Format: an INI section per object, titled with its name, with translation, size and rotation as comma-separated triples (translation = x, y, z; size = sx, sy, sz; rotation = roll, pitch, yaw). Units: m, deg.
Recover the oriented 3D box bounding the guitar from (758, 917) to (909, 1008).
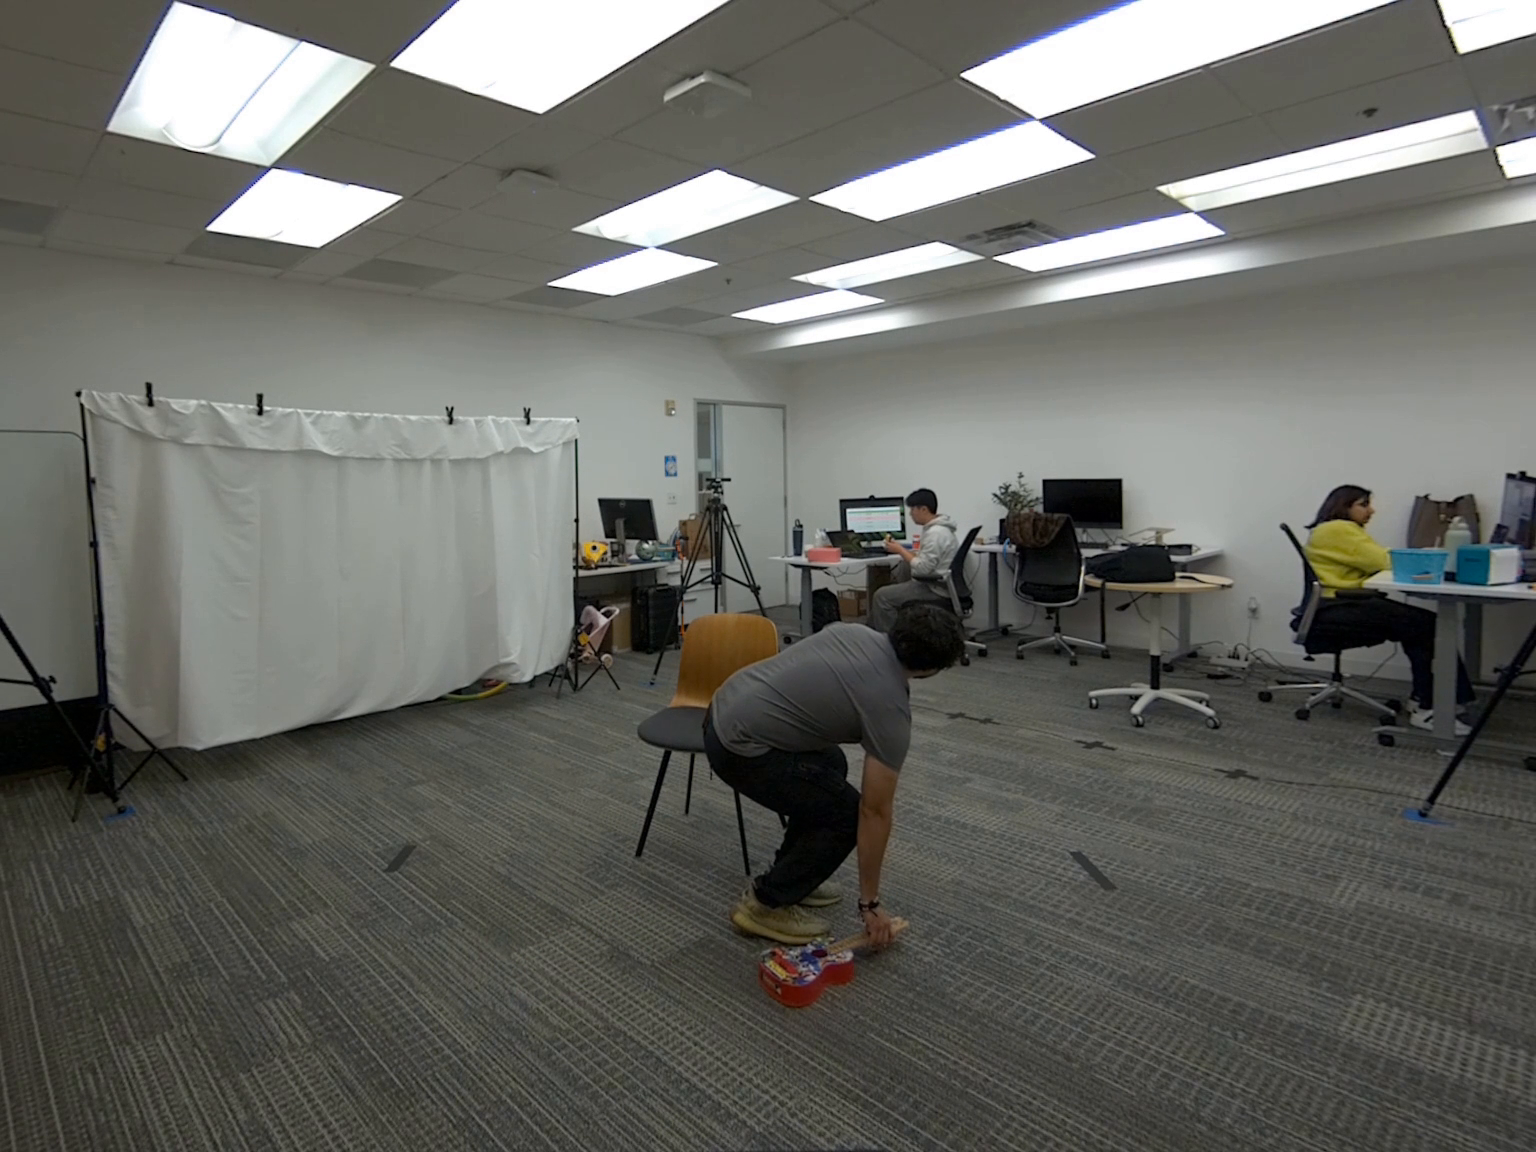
[guitar]
translation = 0.224, 1.091, 2.415
size = 0.488, 0.070, 0.197
rotation = -4, 6, -23
